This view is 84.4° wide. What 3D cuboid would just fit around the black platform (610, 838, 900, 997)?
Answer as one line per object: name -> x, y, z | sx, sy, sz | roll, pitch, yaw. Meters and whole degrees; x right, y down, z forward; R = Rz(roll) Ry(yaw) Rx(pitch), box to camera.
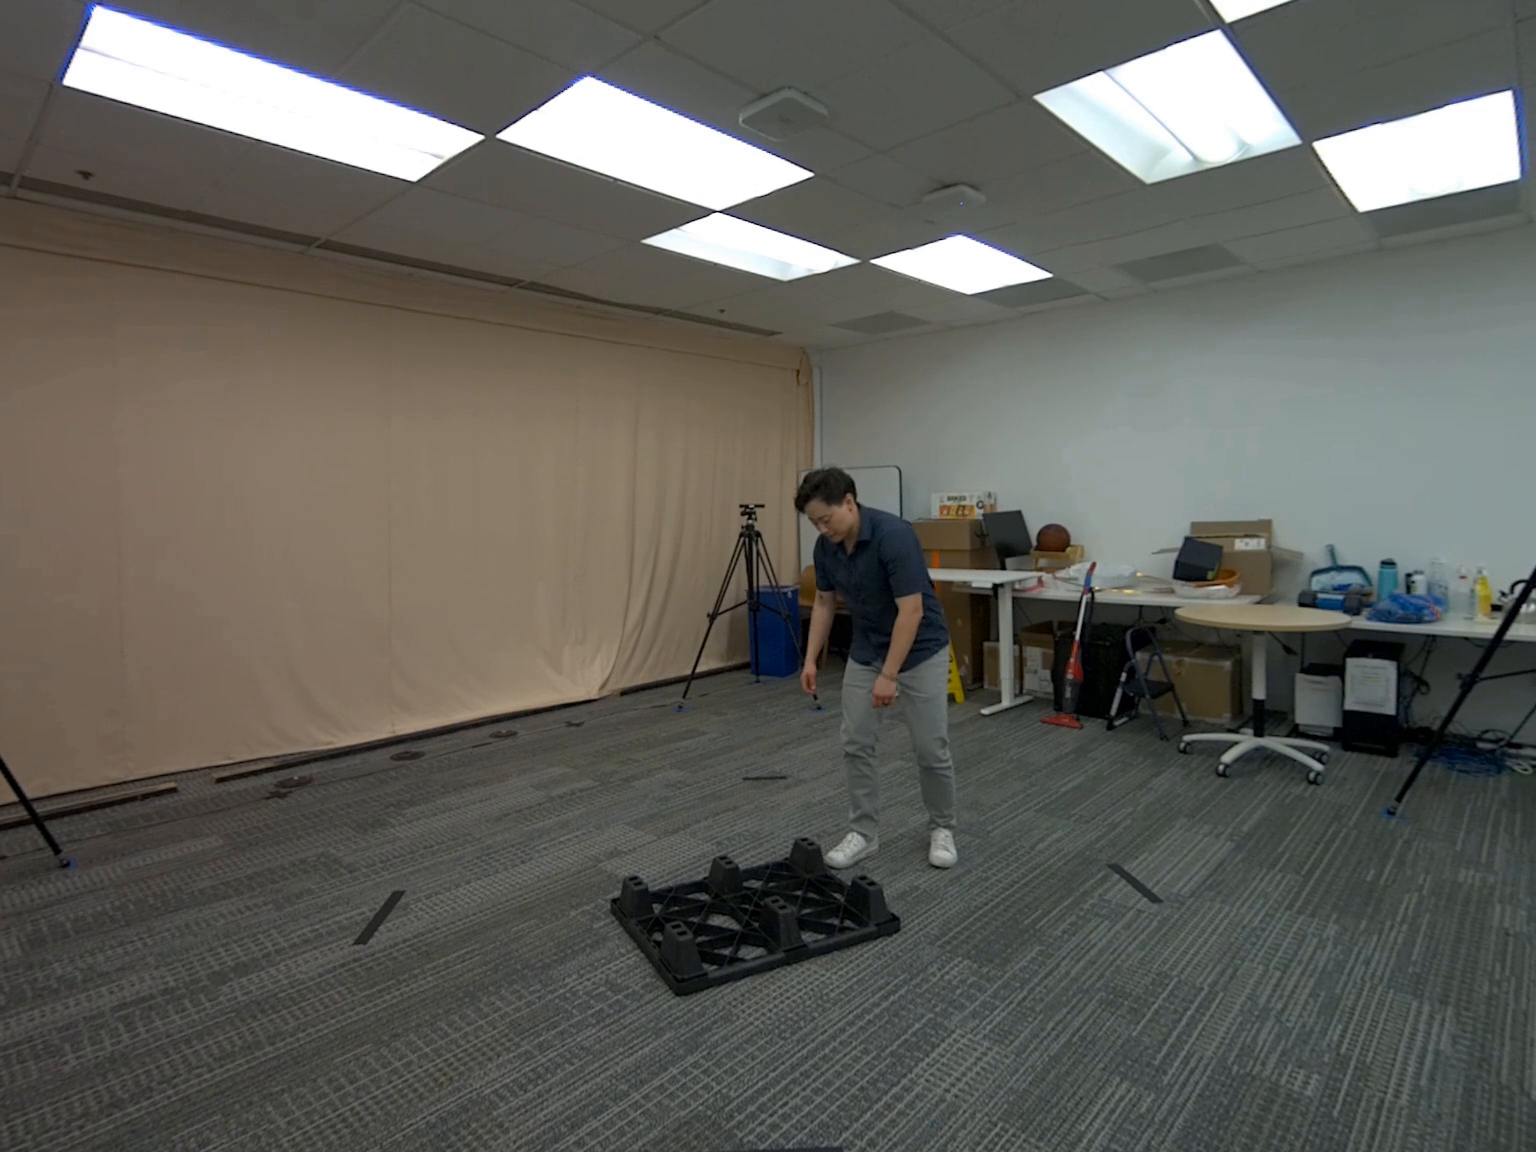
black platform -> -0.053, 1.086, 2.823 | 0.785, 0.143, 0.622 | -3, 6, -28
